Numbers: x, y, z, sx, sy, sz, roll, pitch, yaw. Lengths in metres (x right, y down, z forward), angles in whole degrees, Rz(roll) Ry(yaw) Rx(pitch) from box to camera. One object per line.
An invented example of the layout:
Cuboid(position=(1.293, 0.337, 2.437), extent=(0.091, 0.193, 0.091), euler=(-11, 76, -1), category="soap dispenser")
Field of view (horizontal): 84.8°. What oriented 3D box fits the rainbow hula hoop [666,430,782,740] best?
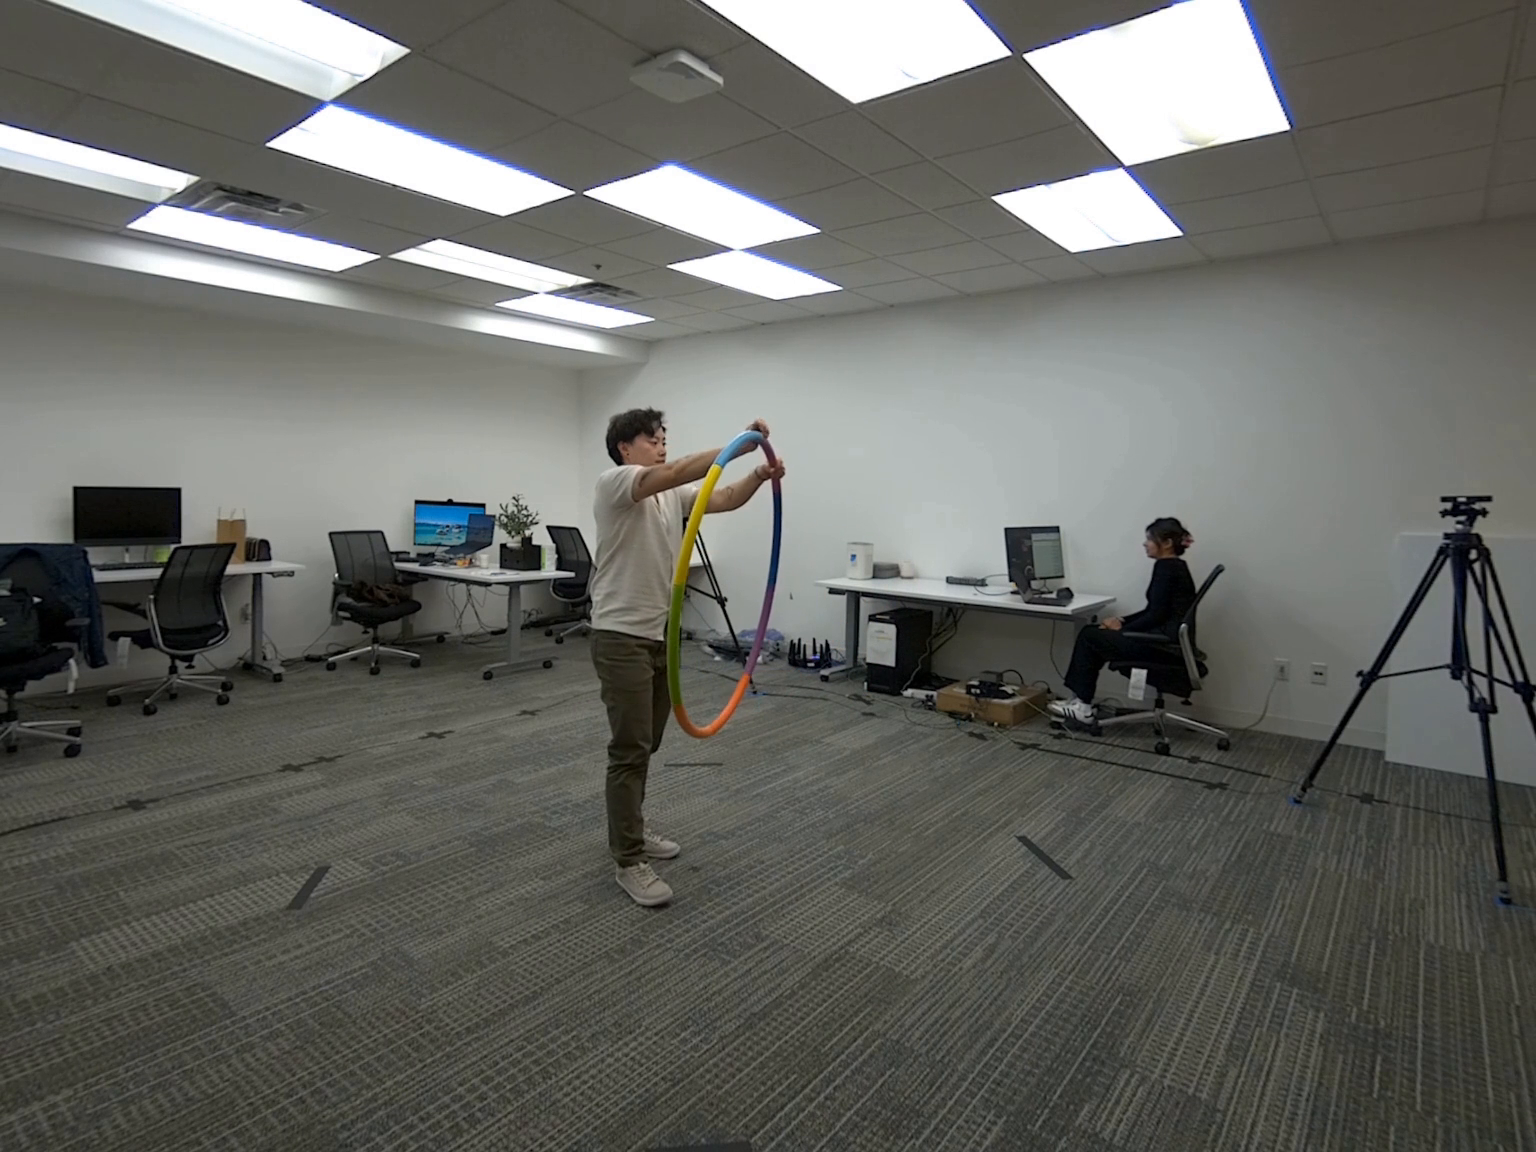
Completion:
Cuboid(position=(-0.115, 0.027, 2.755), extent=(0.036, 0.974, 0.962), euler=(10, 7, 17), category="rainbow hula hoop")
